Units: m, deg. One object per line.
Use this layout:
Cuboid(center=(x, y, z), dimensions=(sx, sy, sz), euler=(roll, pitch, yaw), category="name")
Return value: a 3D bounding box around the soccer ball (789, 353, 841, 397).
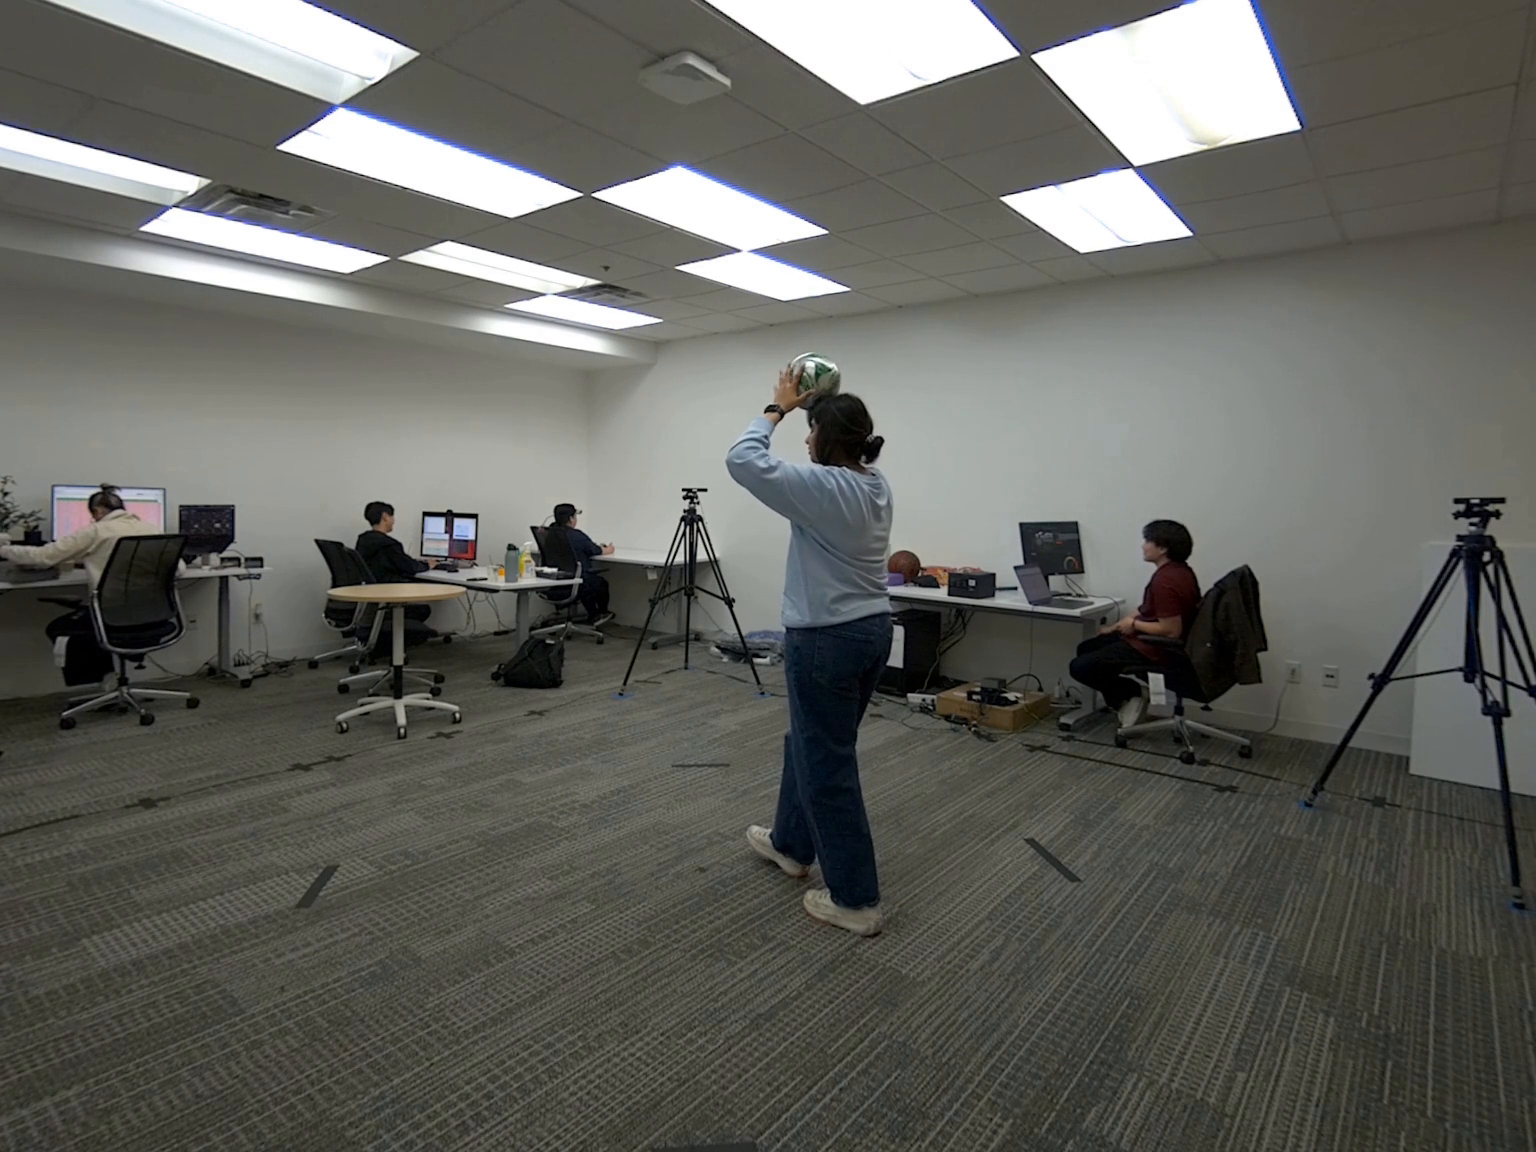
Cuboid(center=(0.140, -0.642, 2.801), dimensions=(0.187, 0.187, 0.188), euler=(1, 4, -2), category="soccer ball")
